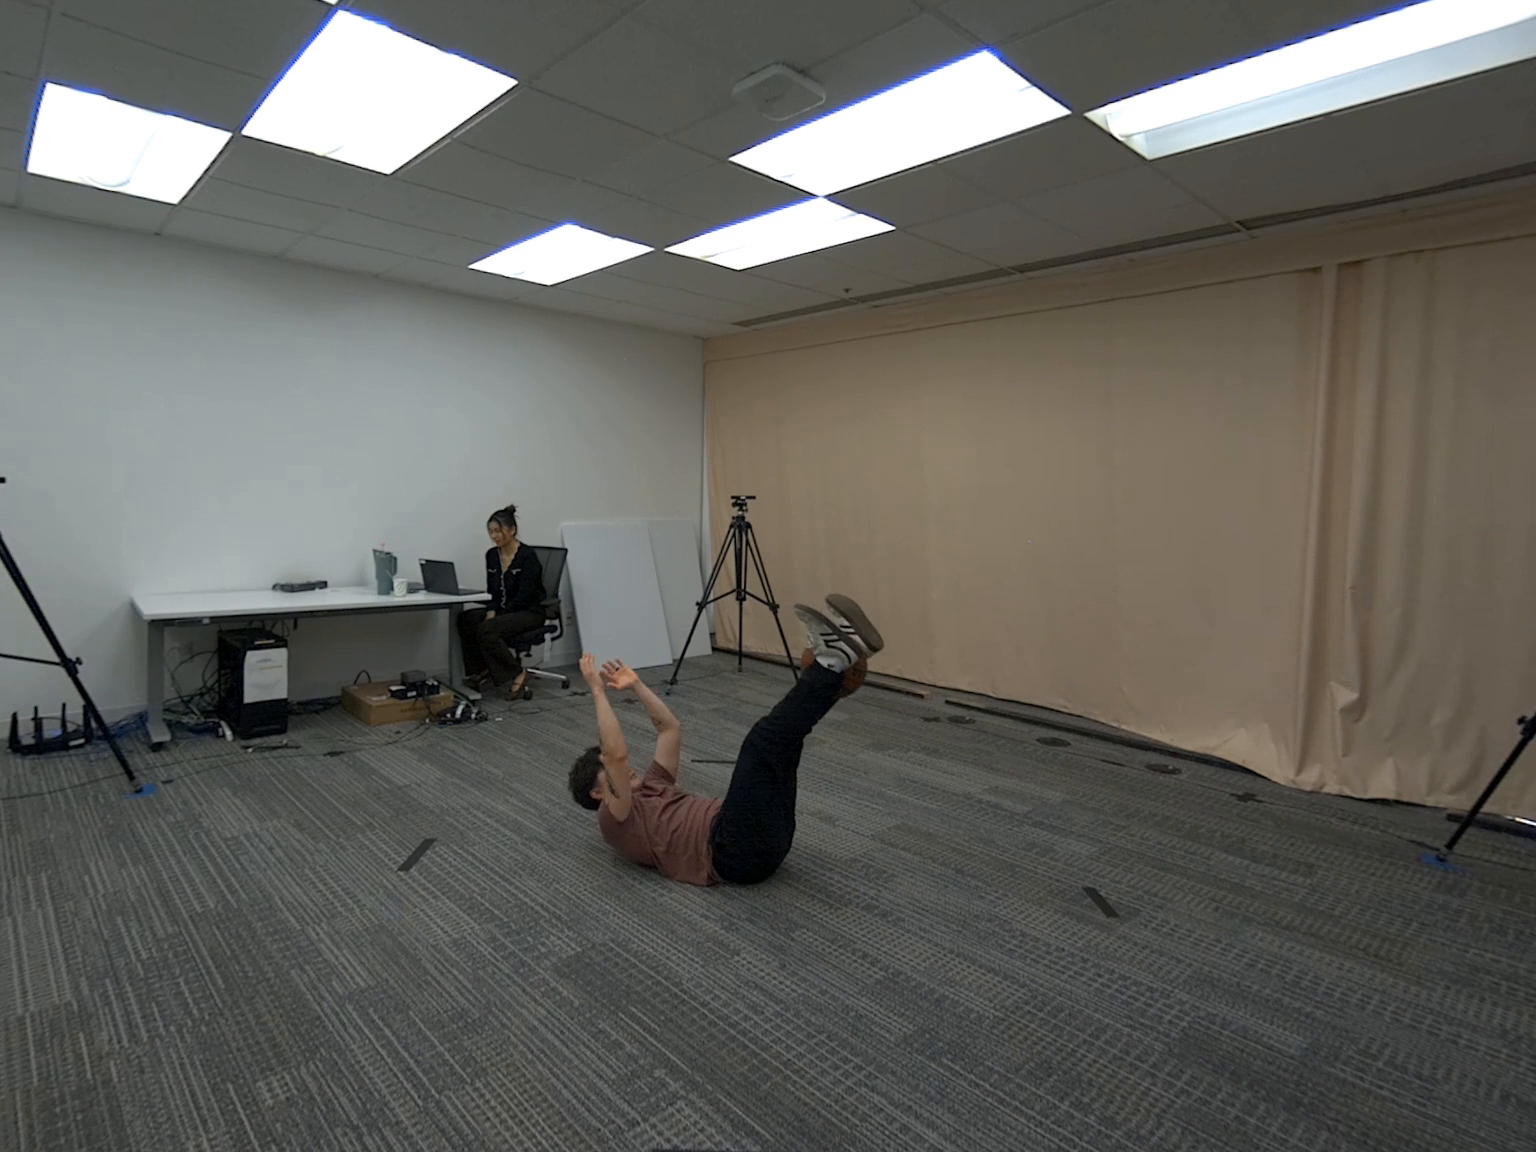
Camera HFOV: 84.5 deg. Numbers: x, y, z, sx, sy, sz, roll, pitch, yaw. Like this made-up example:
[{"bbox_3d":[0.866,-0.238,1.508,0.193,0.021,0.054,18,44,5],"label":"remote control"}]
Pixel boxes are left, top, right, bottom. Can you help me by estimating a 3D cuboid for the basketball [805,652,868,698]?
[{"bbox_3d":[0.232,0.325,2.985,0.236,0.234,0.237,0,8,-1],"label":"basketball"}]
